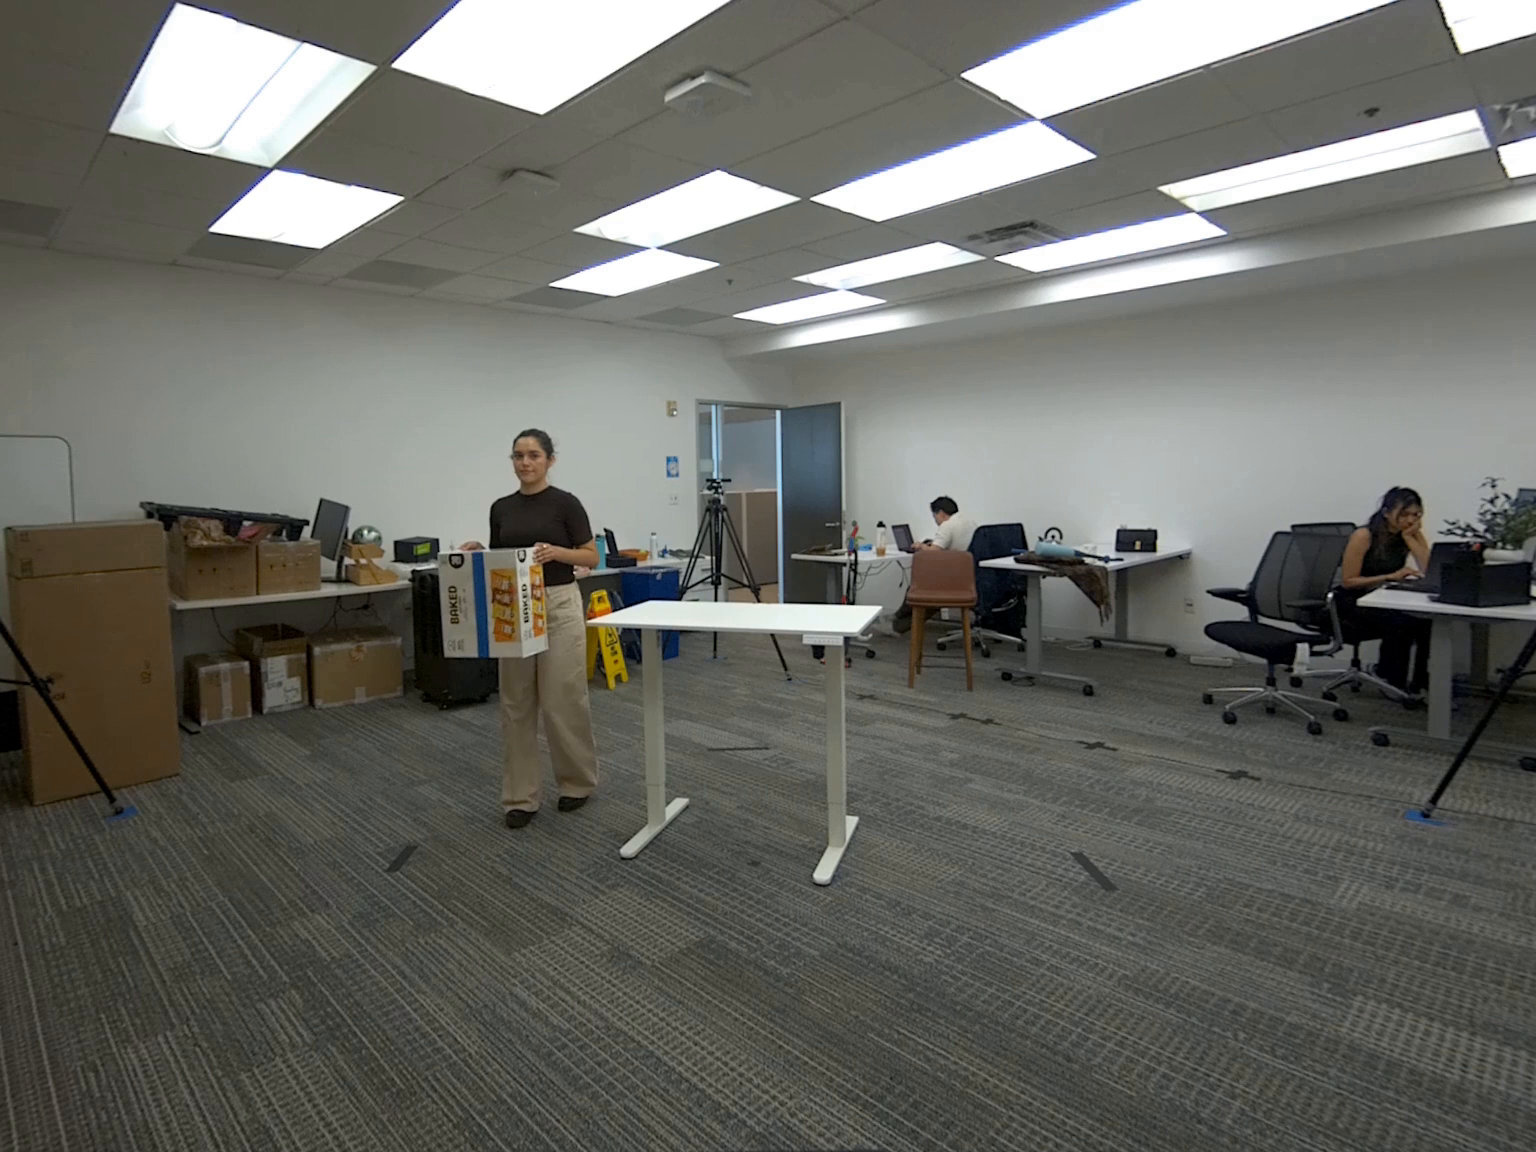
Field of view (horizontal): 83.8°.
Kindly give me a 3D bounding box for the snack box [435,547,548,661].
[{"bbox_3d":[-1.065,0.103,3.314,0.345,0.404,0.203,-2,3,14],"label":"snack box"}]
